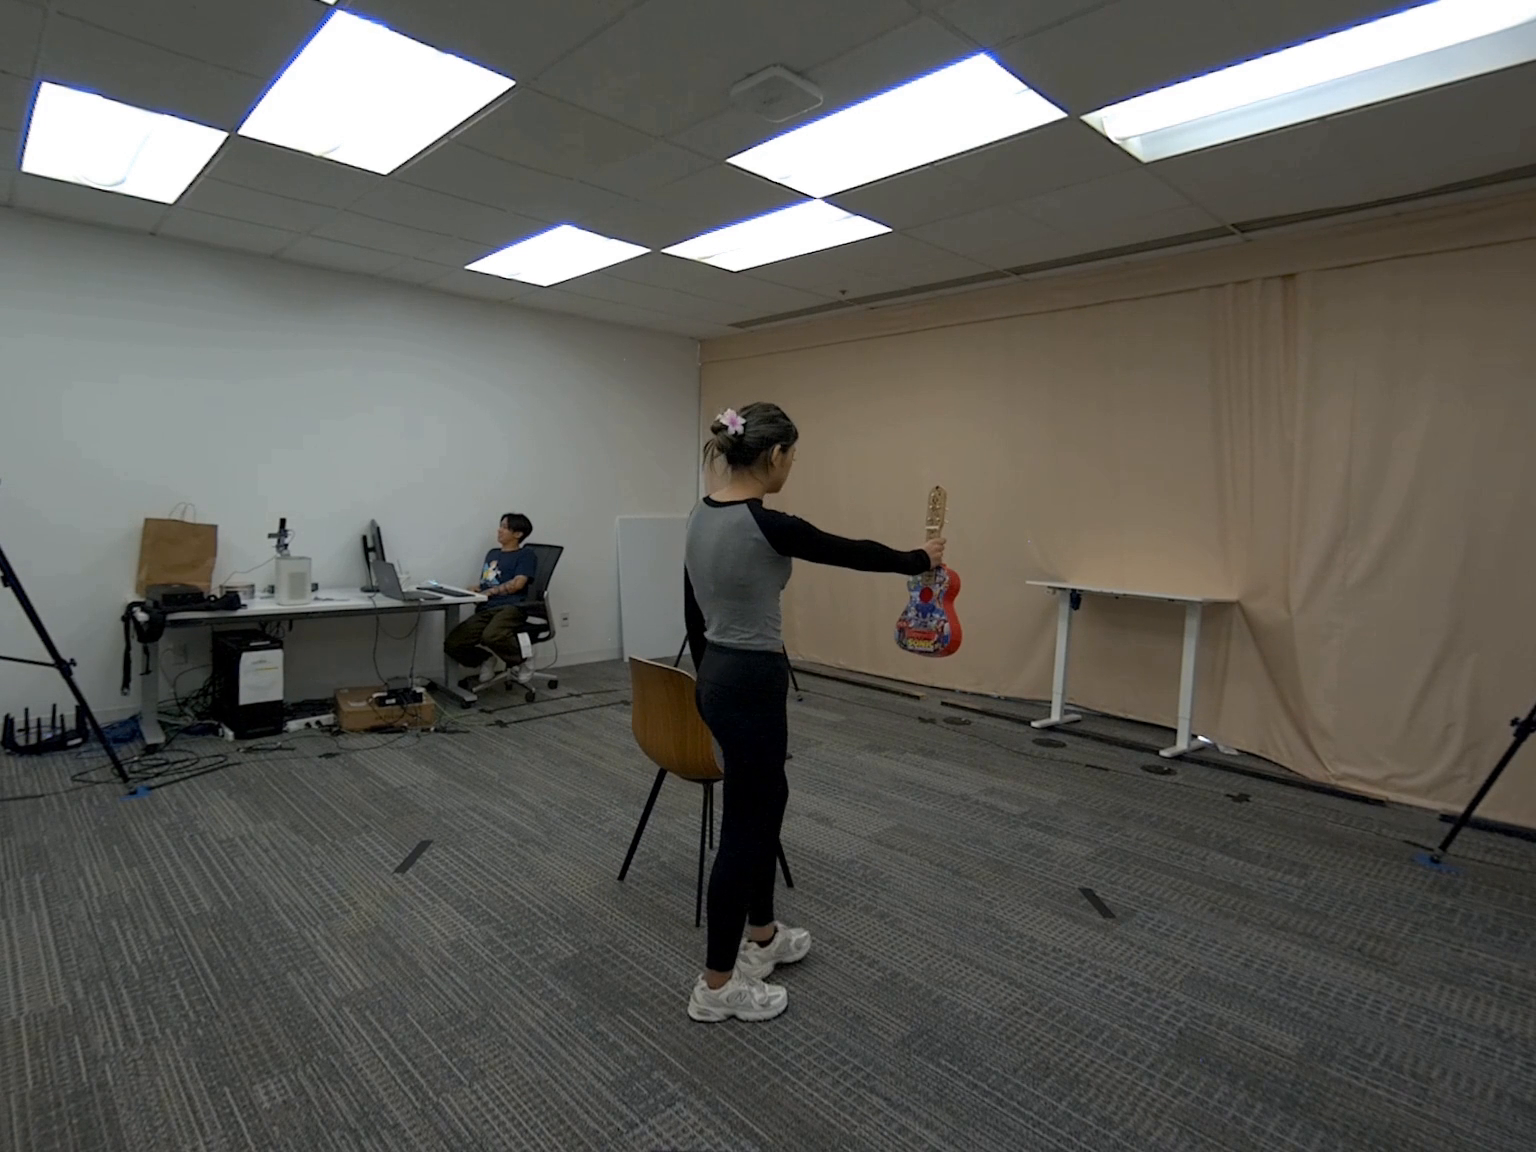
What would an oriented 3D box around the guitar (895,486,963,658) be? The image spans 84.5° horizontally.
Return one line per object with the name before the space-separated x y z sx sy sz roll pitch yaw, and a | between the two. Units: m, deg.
guitar | 0.500 -0.005 2.459 0.069 0.498 0.198 15 -1 -43
